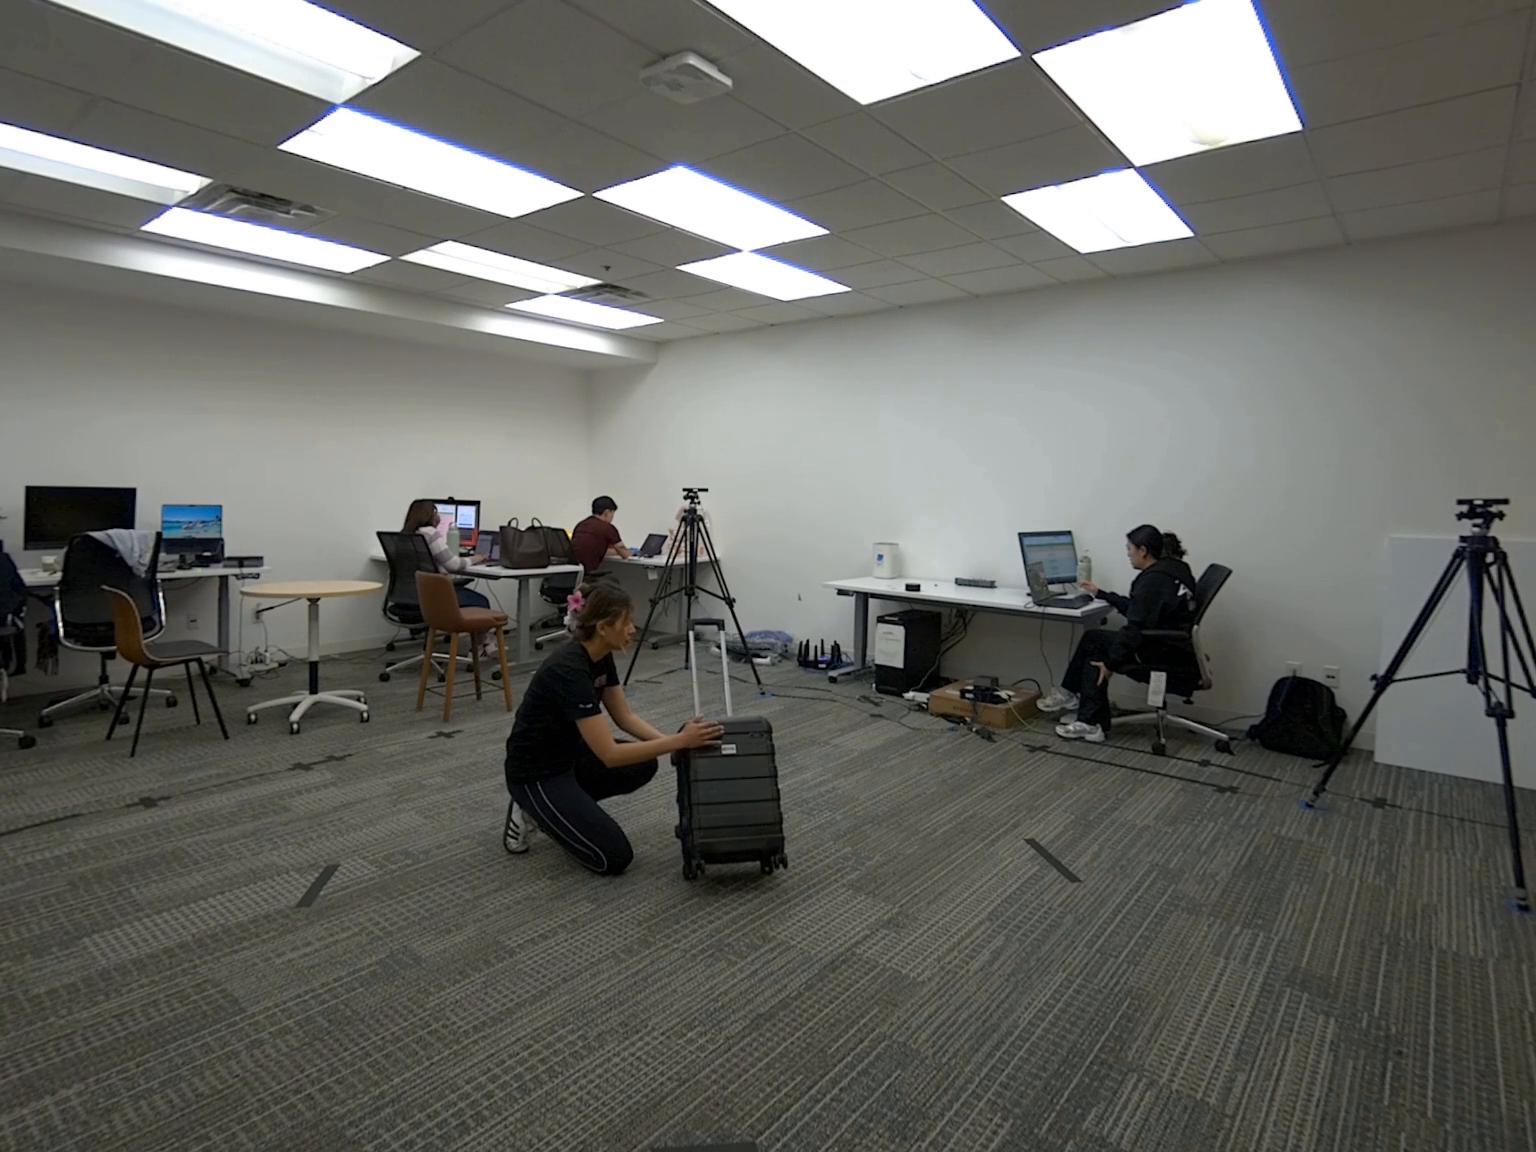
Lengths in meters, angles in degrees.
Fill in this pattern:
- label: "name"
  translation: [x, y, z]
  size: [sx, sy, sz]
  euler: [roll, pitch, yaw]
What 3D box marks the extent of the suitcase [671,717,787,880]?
- label: "suitcase"
  translation: [-0.172, 0.605, 3.185]
  size: [0.379, 1.002, 0.254]
  euler: [0, -24, -13]
